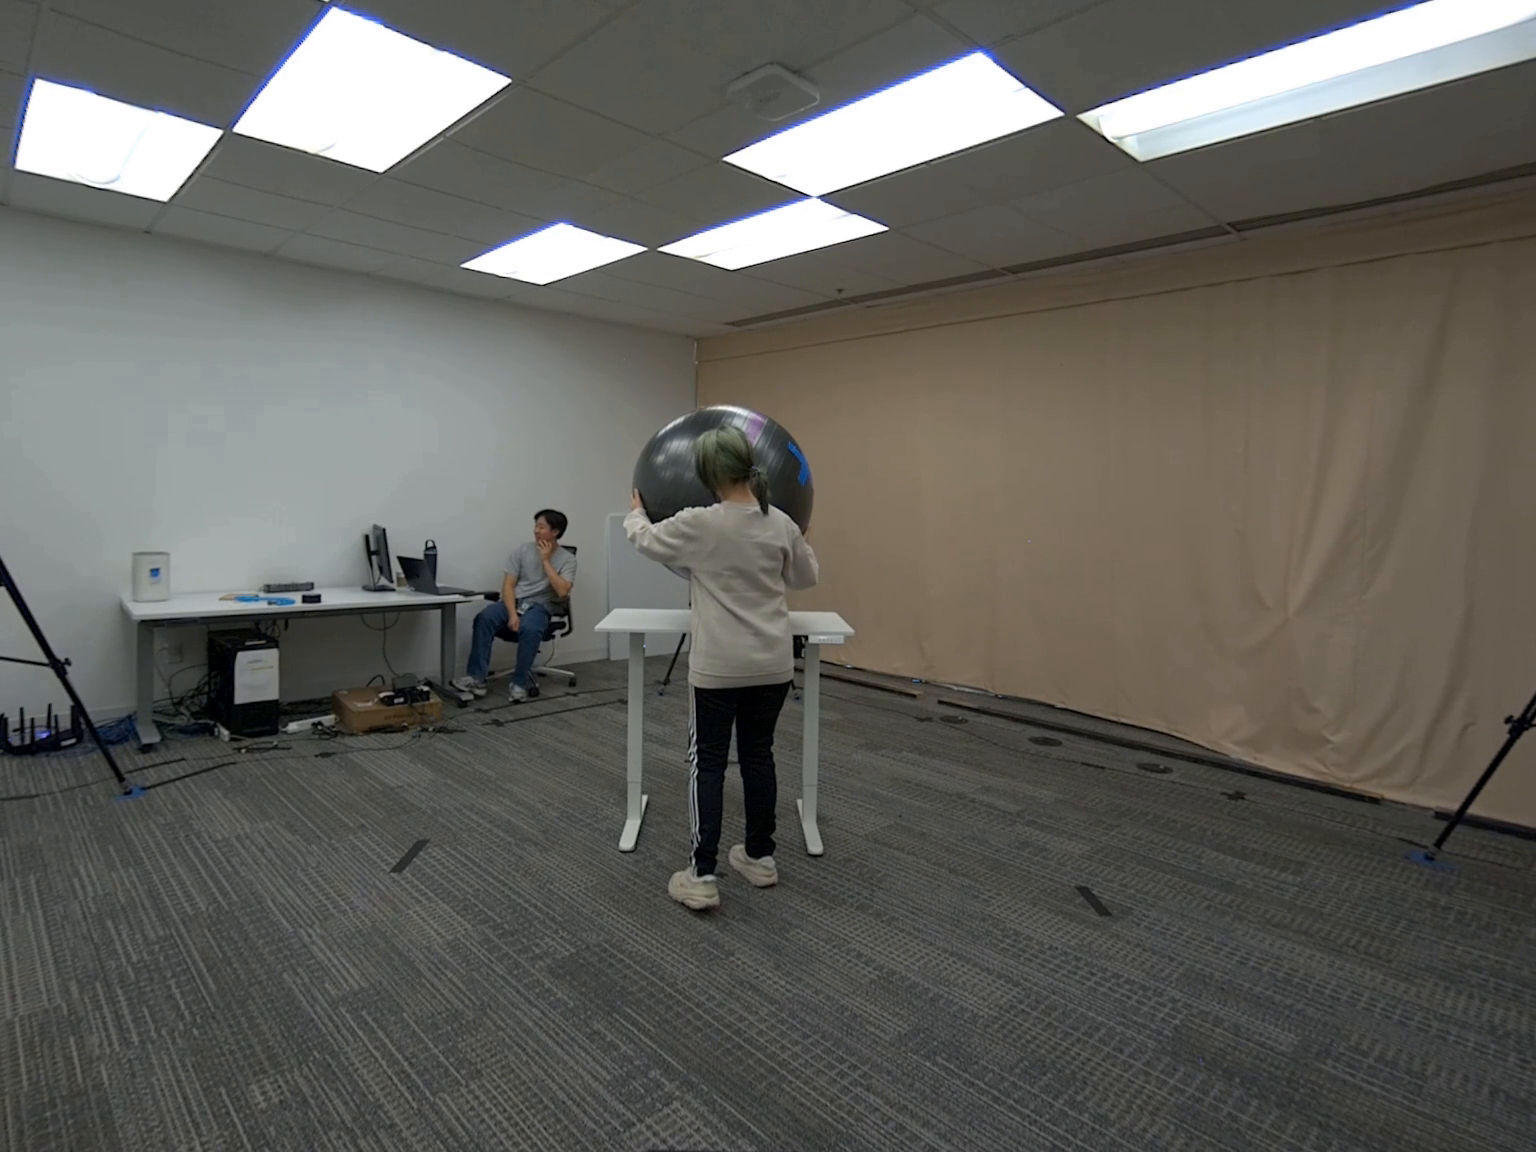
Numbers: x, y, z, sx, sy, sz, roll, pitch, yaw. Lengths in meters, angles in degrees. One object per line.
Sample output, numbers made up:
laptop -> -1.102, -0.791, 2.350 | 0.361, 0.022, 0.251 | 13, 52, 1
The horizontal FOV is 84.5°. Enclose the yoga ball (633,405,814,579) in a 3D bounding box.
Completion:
yoga ball -> -0.200, -0.331, 3.521 | 0.757, 0.756, 0.761 | 1, 4, -1
